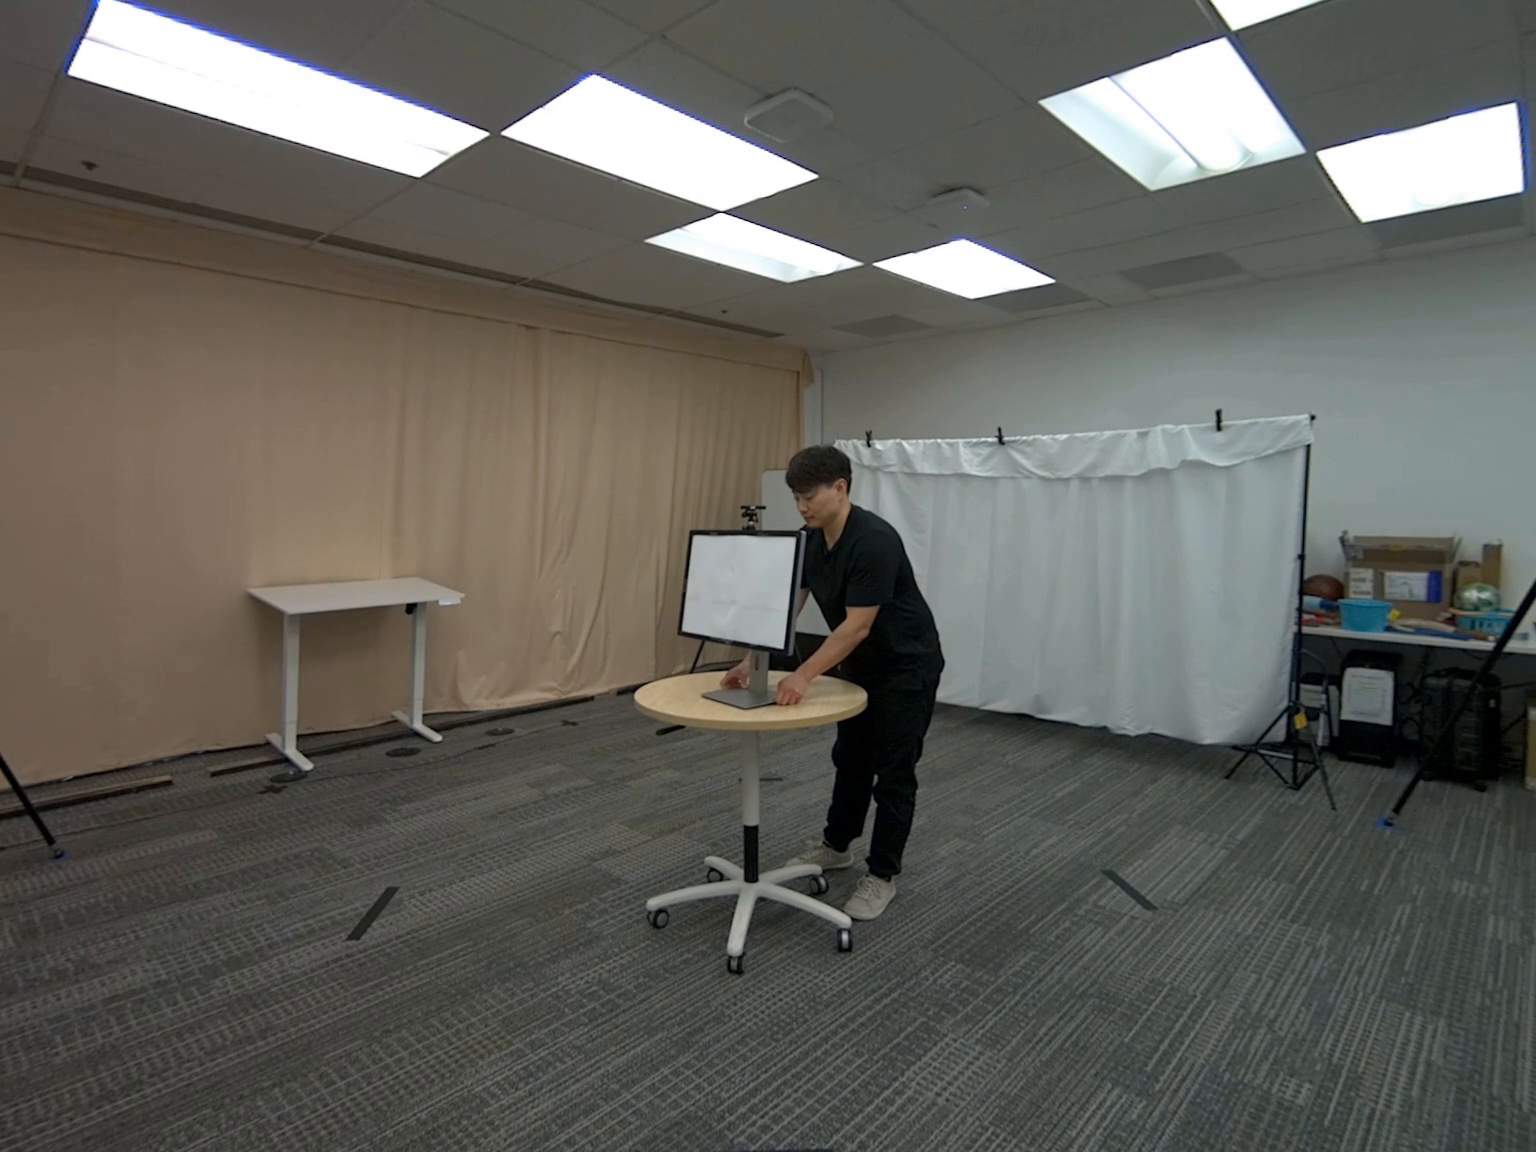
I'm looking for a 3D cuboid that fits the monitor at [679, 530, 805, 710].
[{"bbox_3d":[-0.063,0.128,2.681,0.181,0.521,0.556,-5,5,-40],"label":"monitor"}]
